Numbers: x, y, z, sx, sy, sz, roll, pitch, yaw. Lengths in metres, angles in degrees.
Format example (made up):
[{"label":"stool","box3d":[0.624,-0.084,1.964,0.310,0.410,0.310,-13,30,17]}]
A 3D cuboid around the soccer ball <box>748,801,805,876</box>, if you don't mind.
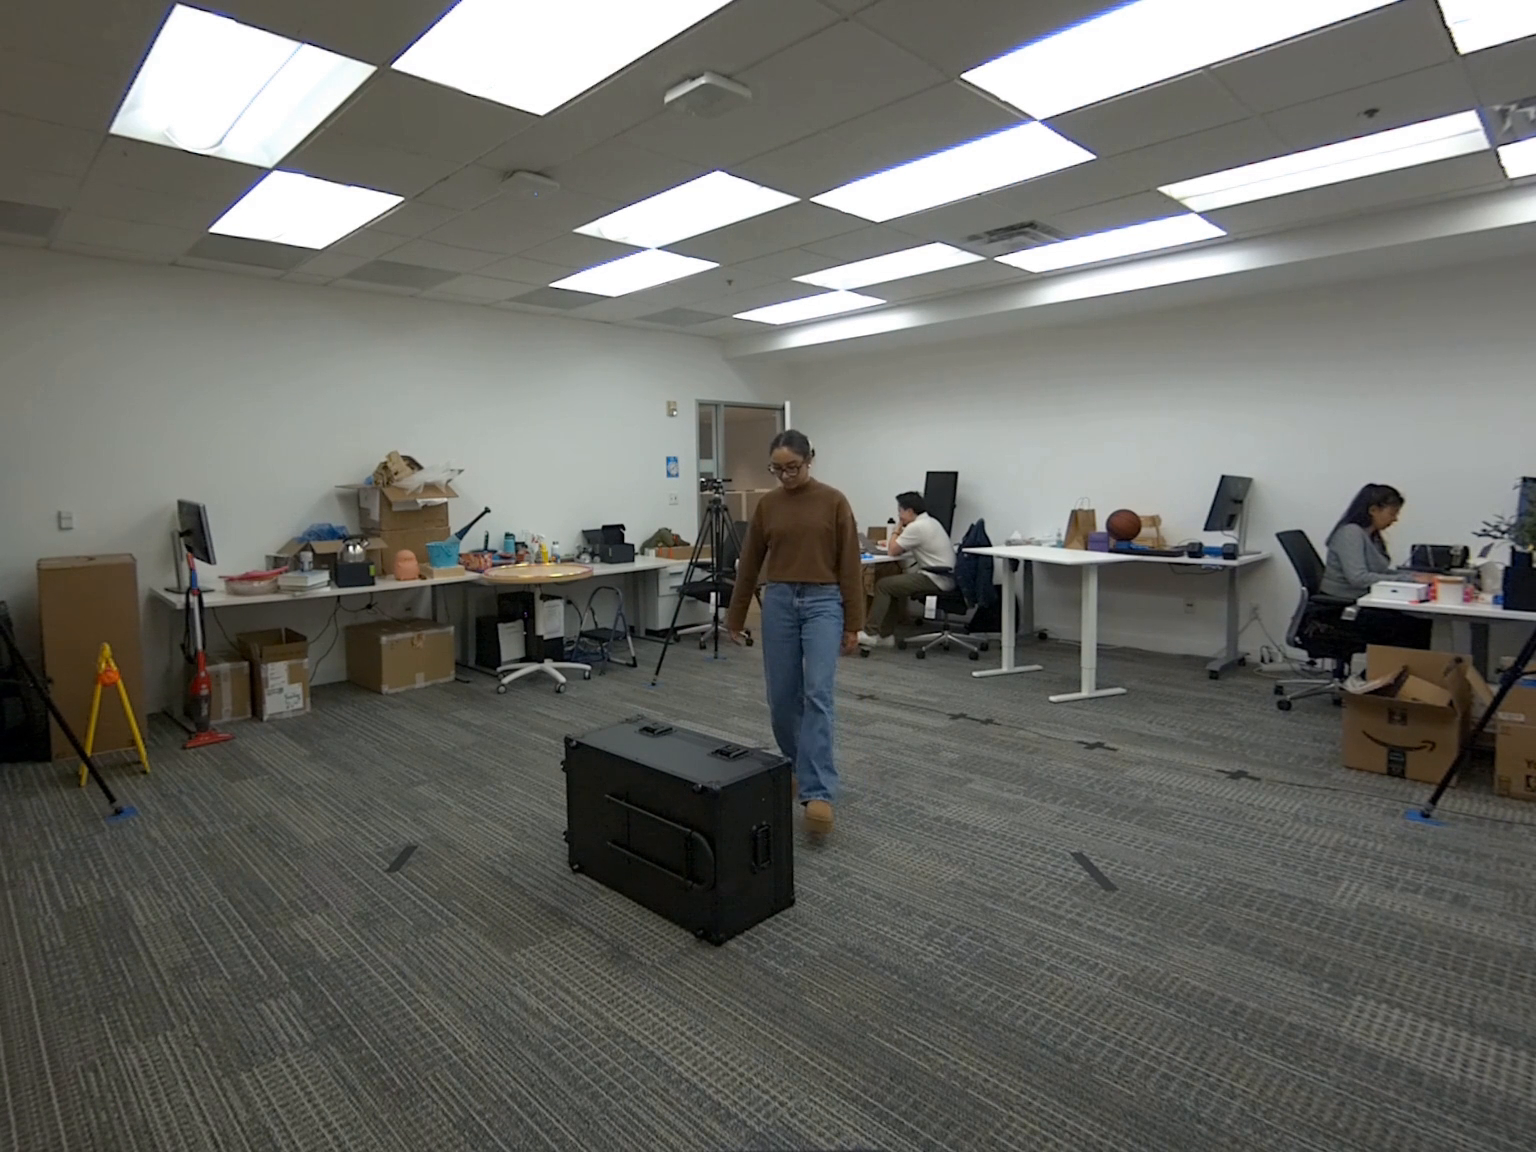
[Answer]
[{"label":"soccer ball","box3d":[0.027,0.941,3.089,0.187,0.187,0.188,-1,5,-2]}]
